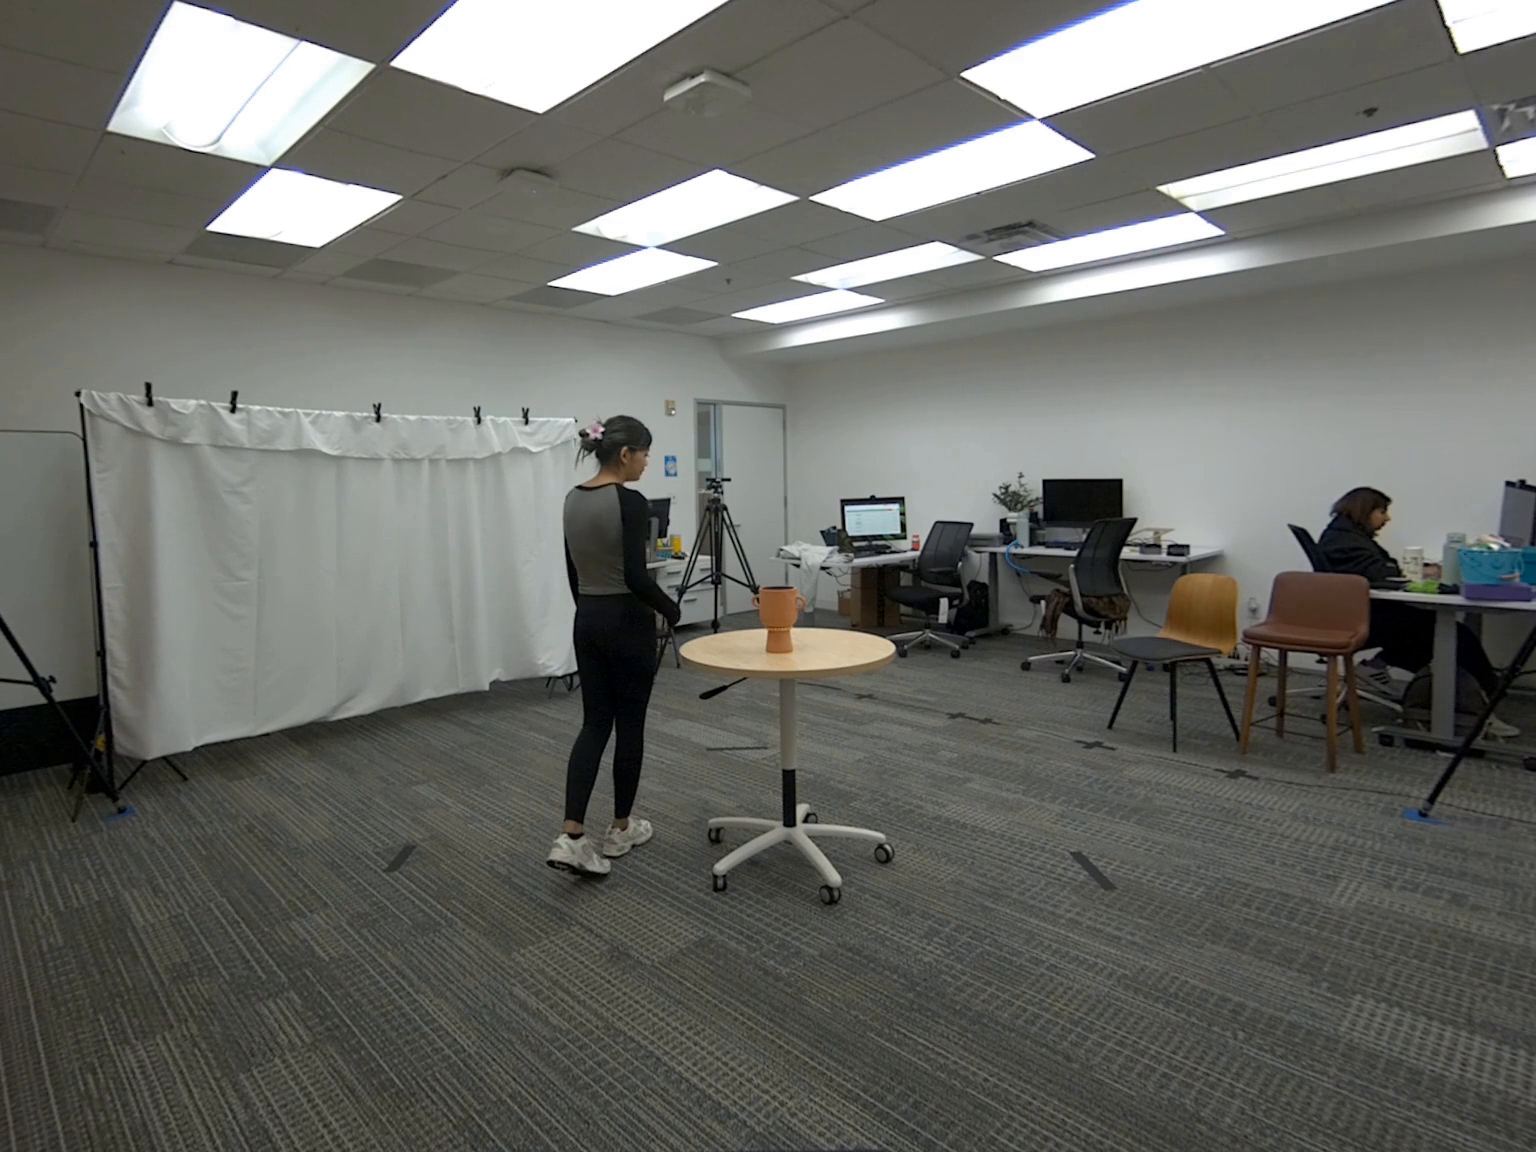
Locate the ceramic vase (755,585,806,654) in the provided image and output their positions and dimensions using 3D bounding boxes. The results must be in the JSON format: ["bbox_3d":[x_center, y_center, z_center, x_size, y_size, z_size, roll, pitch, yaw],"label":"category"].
[{"bbox_3d":[0.036,0.152,2.978,0.131,0.219,0.163,-4,6,-31],"label":"ceramic vase"}]
